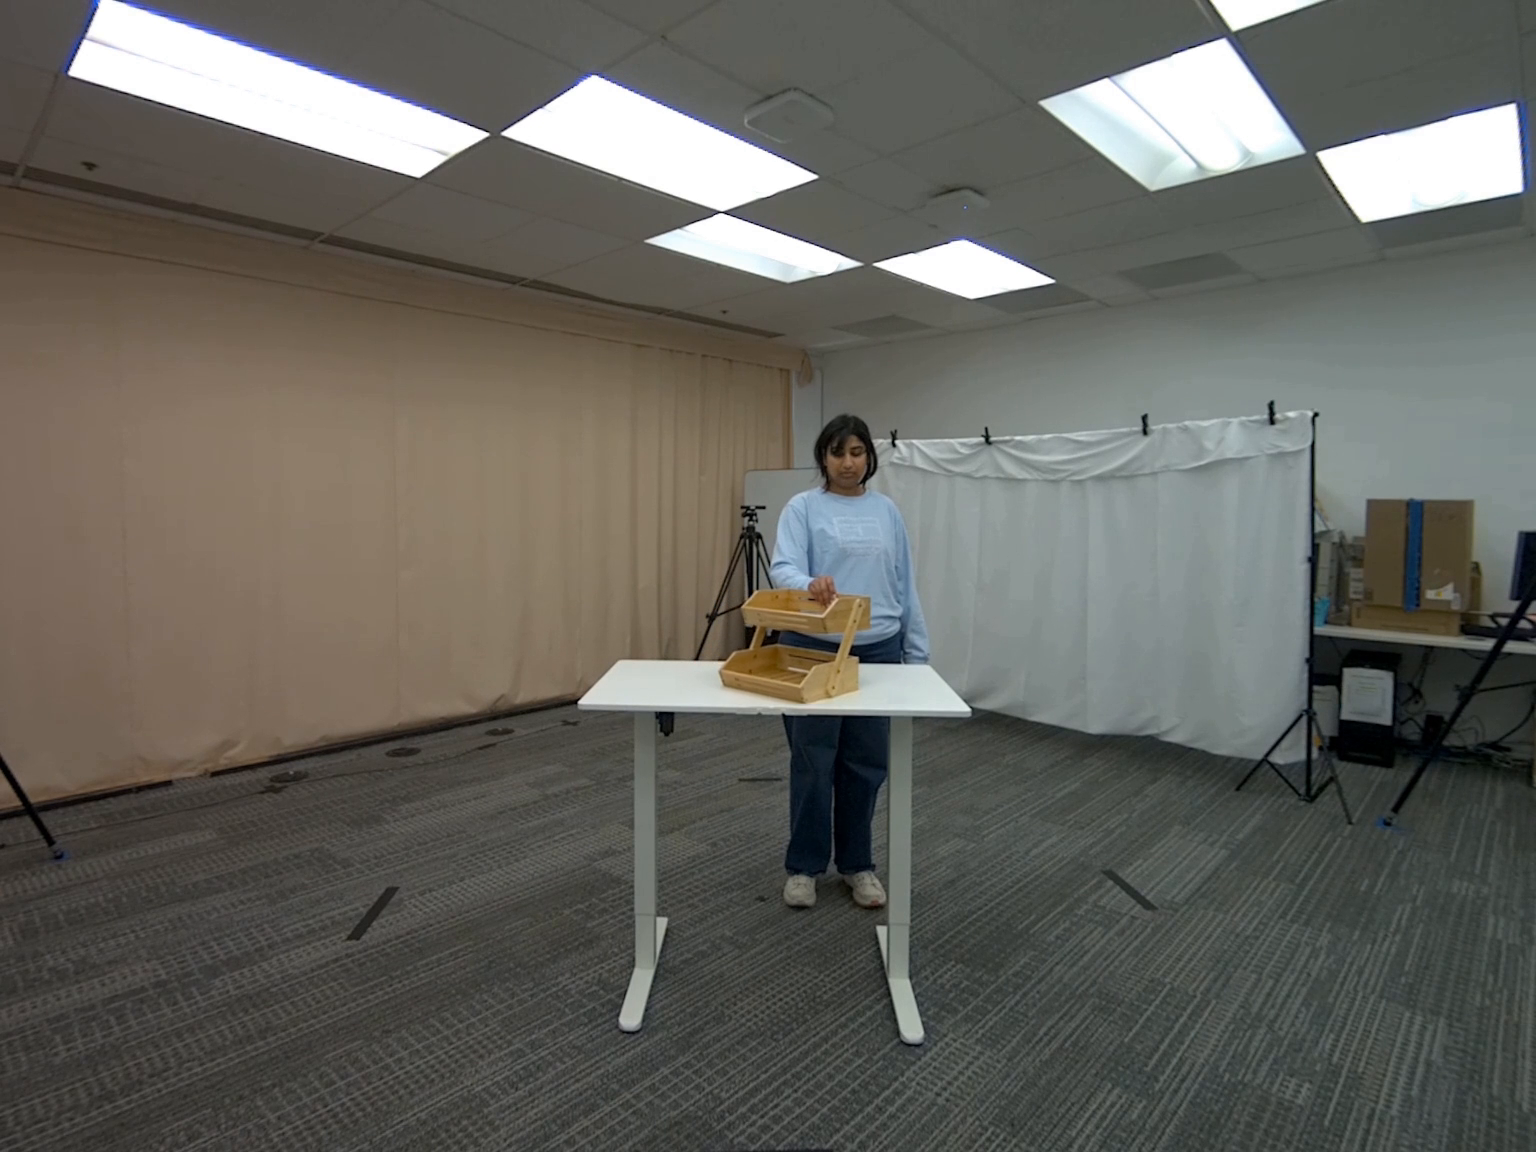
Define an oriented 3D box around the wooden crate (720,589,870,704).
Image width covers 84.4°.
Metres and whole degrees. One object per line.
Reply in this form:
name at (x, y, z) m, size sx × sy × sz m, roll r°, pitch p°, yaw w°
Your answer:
wooden crate at (0.073, 0.181, 2.360) m, size 0.335 × 0.273 × 0.292 m, roll 4°, pitch 5°, yaw 44°
